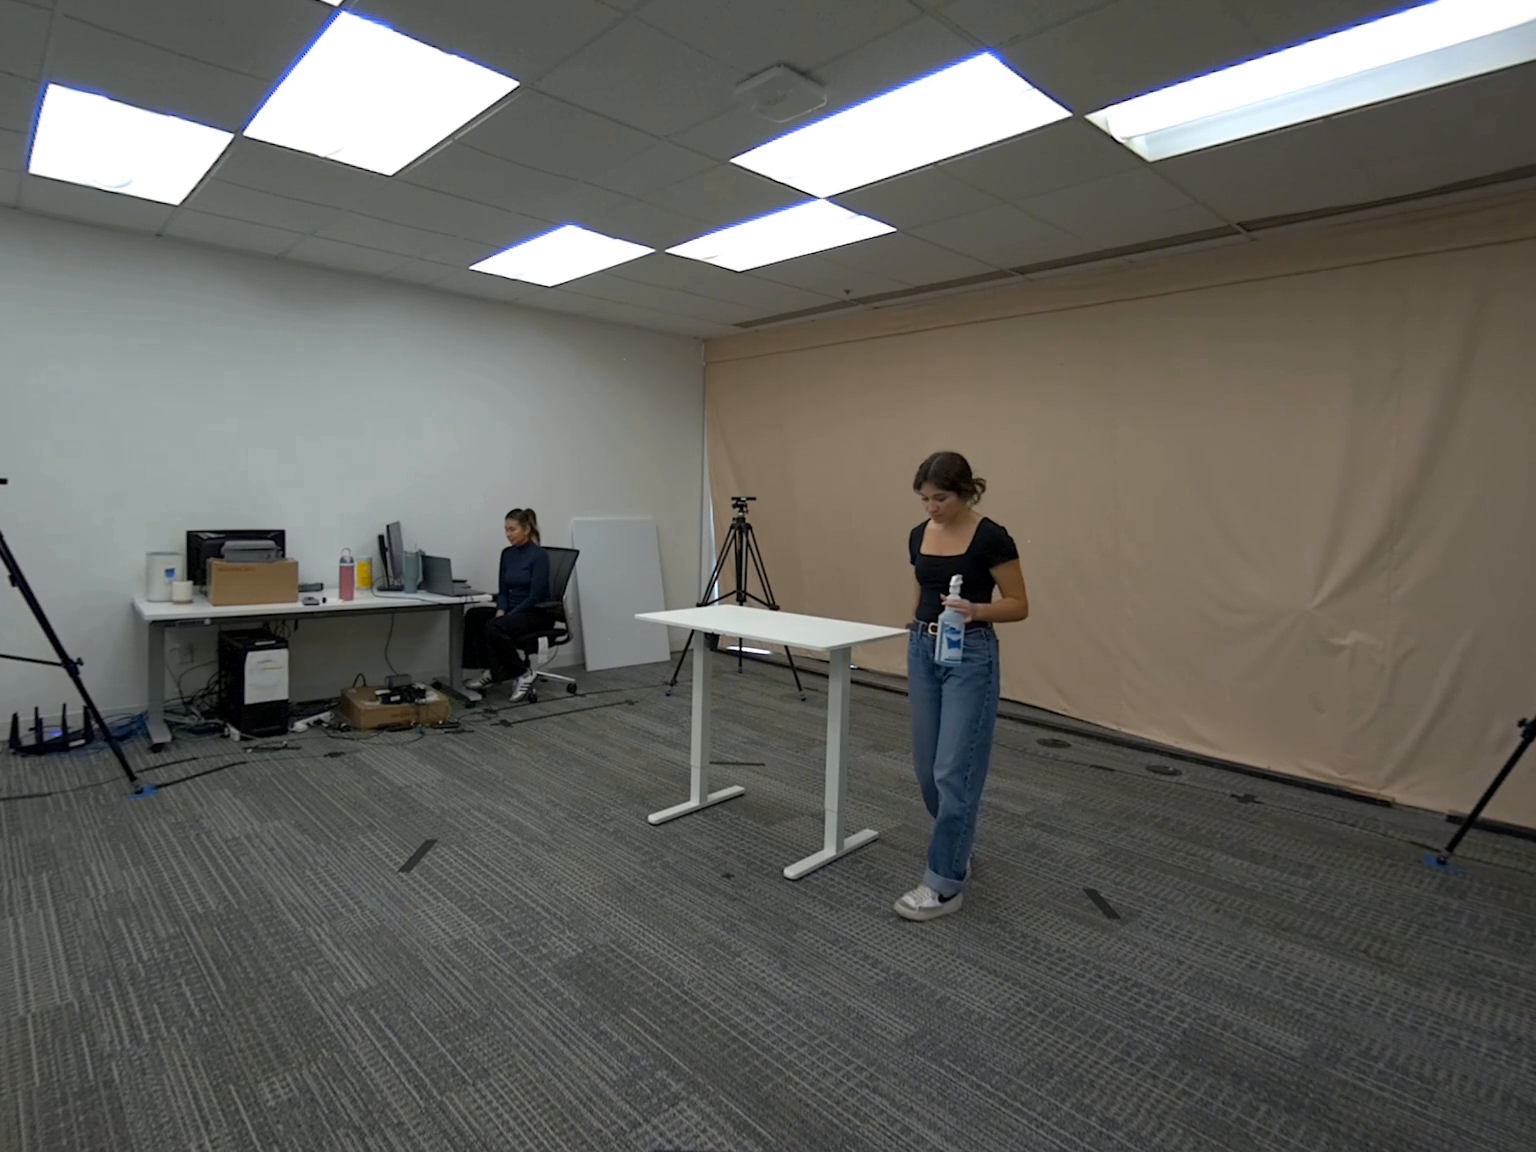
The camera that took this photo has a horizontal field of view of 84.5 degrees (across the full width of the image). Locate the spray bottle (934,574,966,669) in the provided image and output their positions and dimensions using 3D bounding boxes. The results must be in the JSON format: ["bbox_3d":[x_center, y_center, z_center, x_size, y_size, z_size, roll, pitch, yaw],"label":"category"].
[{"bbox_3d":[0.599,0.147,2.770,0.088,0.297,0.089,2,4,-41],"label":"spray bottle"}]
